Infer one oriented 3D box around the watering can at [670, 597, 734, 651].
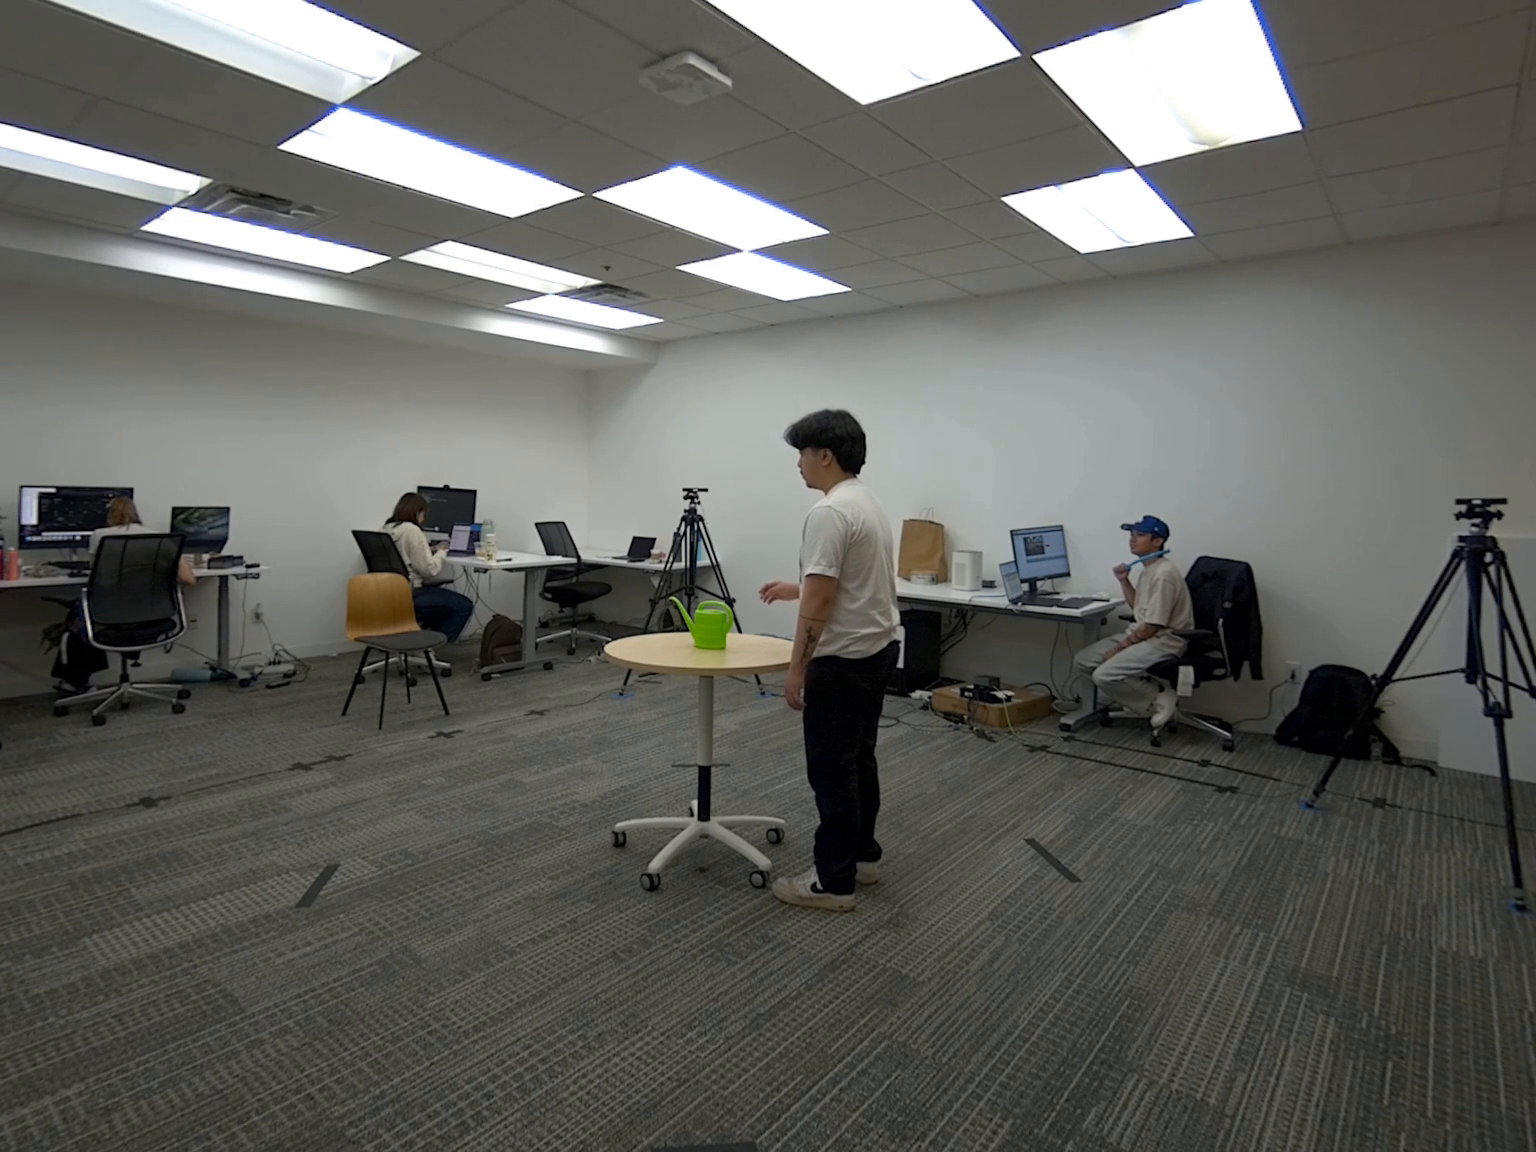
[{"bbox_3d":[-0.266,0.178,3.242,0.288,0.176,0.095,7,4,38],"label":"watering can"}]
